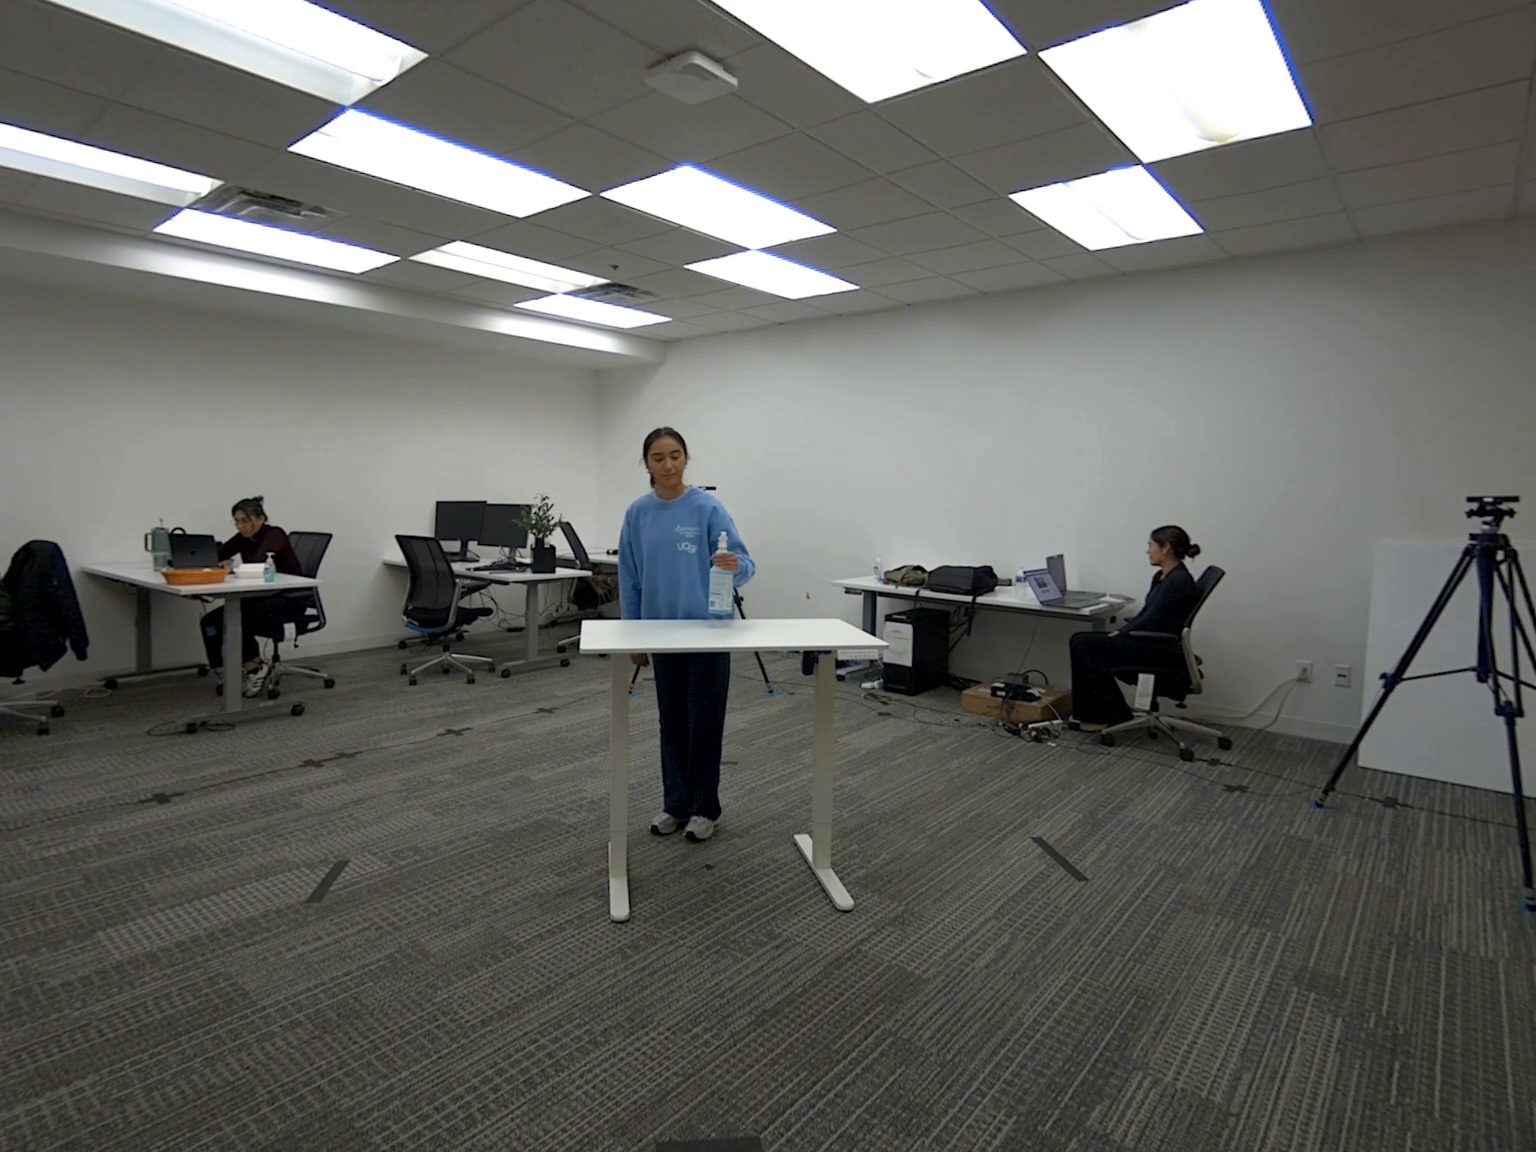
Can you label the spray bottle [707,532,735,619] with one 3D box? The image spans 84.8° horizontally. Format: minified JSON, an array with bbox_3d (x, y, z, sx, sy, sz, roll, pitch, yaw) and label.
[{"bbox_3d":[-0.184,-0.017,3.109,0.089,0.297,0.088,2,2,20],"label":"spray bottle"}]
